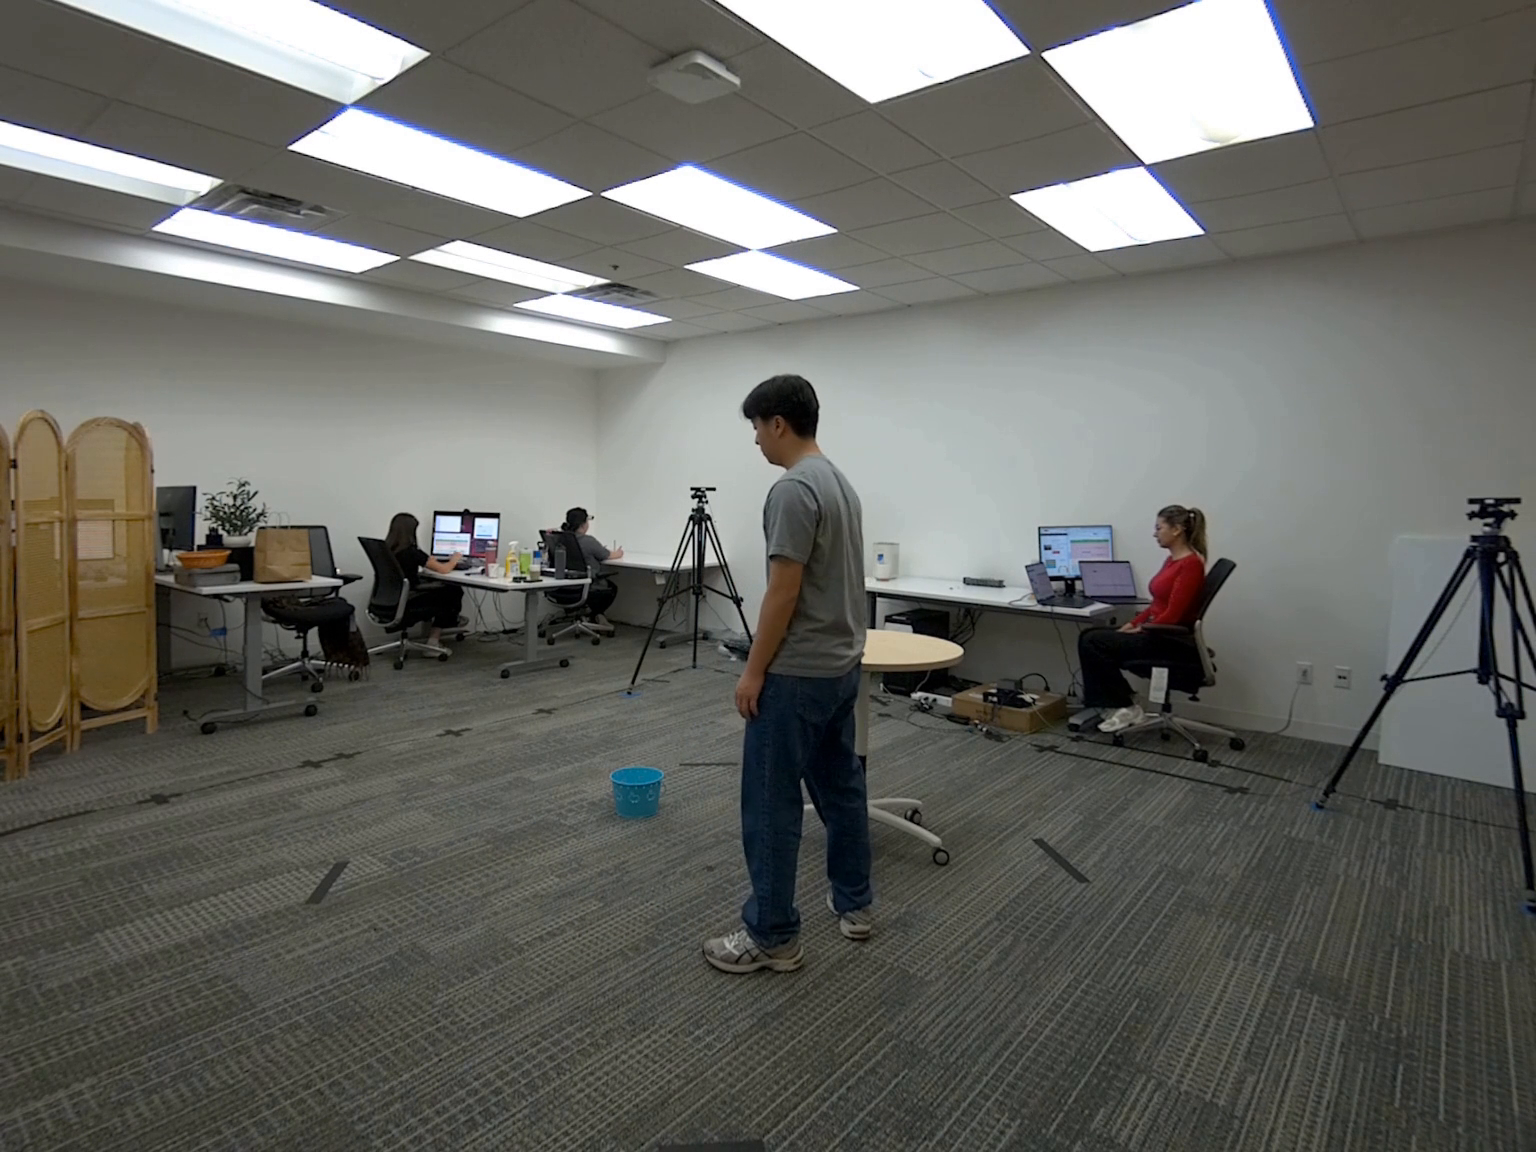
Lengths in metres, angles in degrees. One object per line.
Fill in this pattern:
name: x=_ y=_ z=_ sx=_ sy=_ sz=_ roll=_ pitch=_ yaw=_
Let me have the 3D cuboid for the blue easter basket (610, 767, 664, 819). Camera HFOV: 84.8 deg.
blue easter basket: x=-0.570 y=0.929 z=3.665 sx=0.243 sy=0.155 sz=0.245 roll=0 pitch=5 yaw=-2
